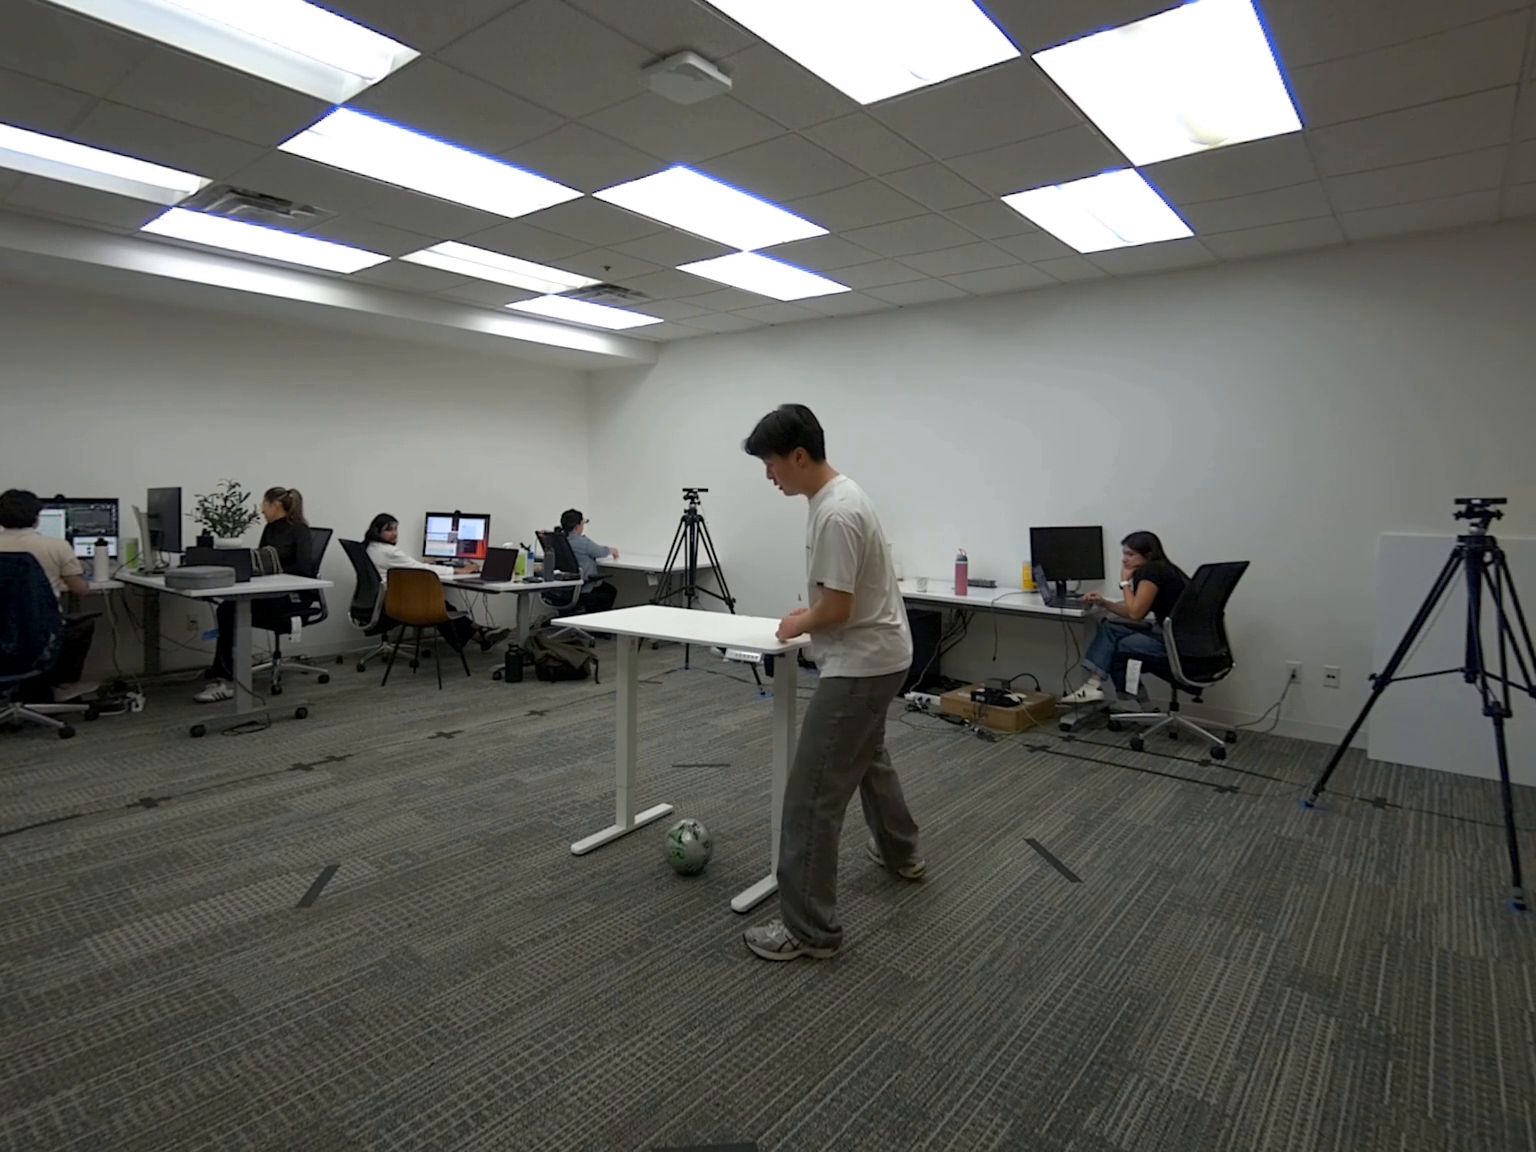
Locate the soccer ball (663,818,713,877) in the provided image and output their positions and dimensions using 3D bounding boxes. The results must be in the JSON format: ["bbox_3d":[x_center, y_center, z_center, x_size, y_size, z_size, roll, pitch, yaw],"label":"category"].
[{"bbox_3d":[-0.283,0.972,3.088,0.187,0.187,0.188,1,4,-2],"label":"soccer ball"}]
